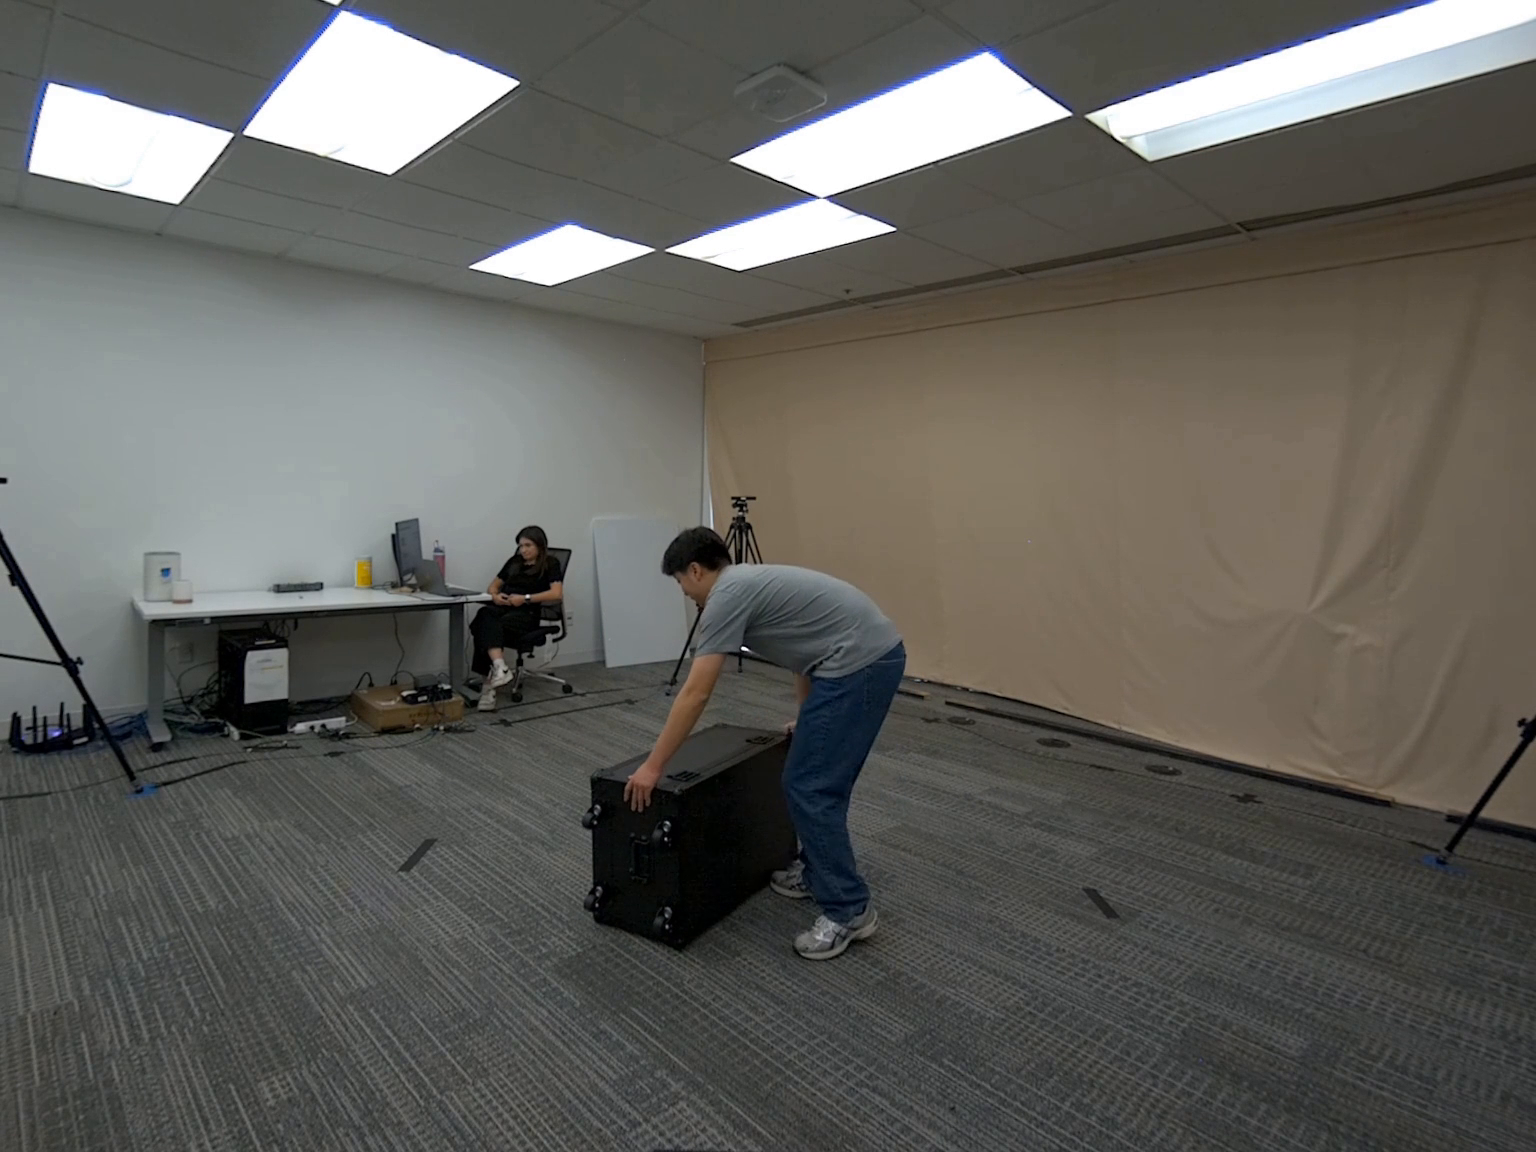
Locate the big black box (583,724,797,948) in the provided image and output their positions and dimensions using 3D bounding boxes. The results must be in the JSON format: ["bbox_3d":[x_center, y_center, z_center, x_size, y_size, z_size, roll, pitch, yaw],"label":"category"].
[{"bbox_3d":[-0.262,0.857,2.955,0.404,0.520,0.845,1,4,29],"label":"big black box"}]
